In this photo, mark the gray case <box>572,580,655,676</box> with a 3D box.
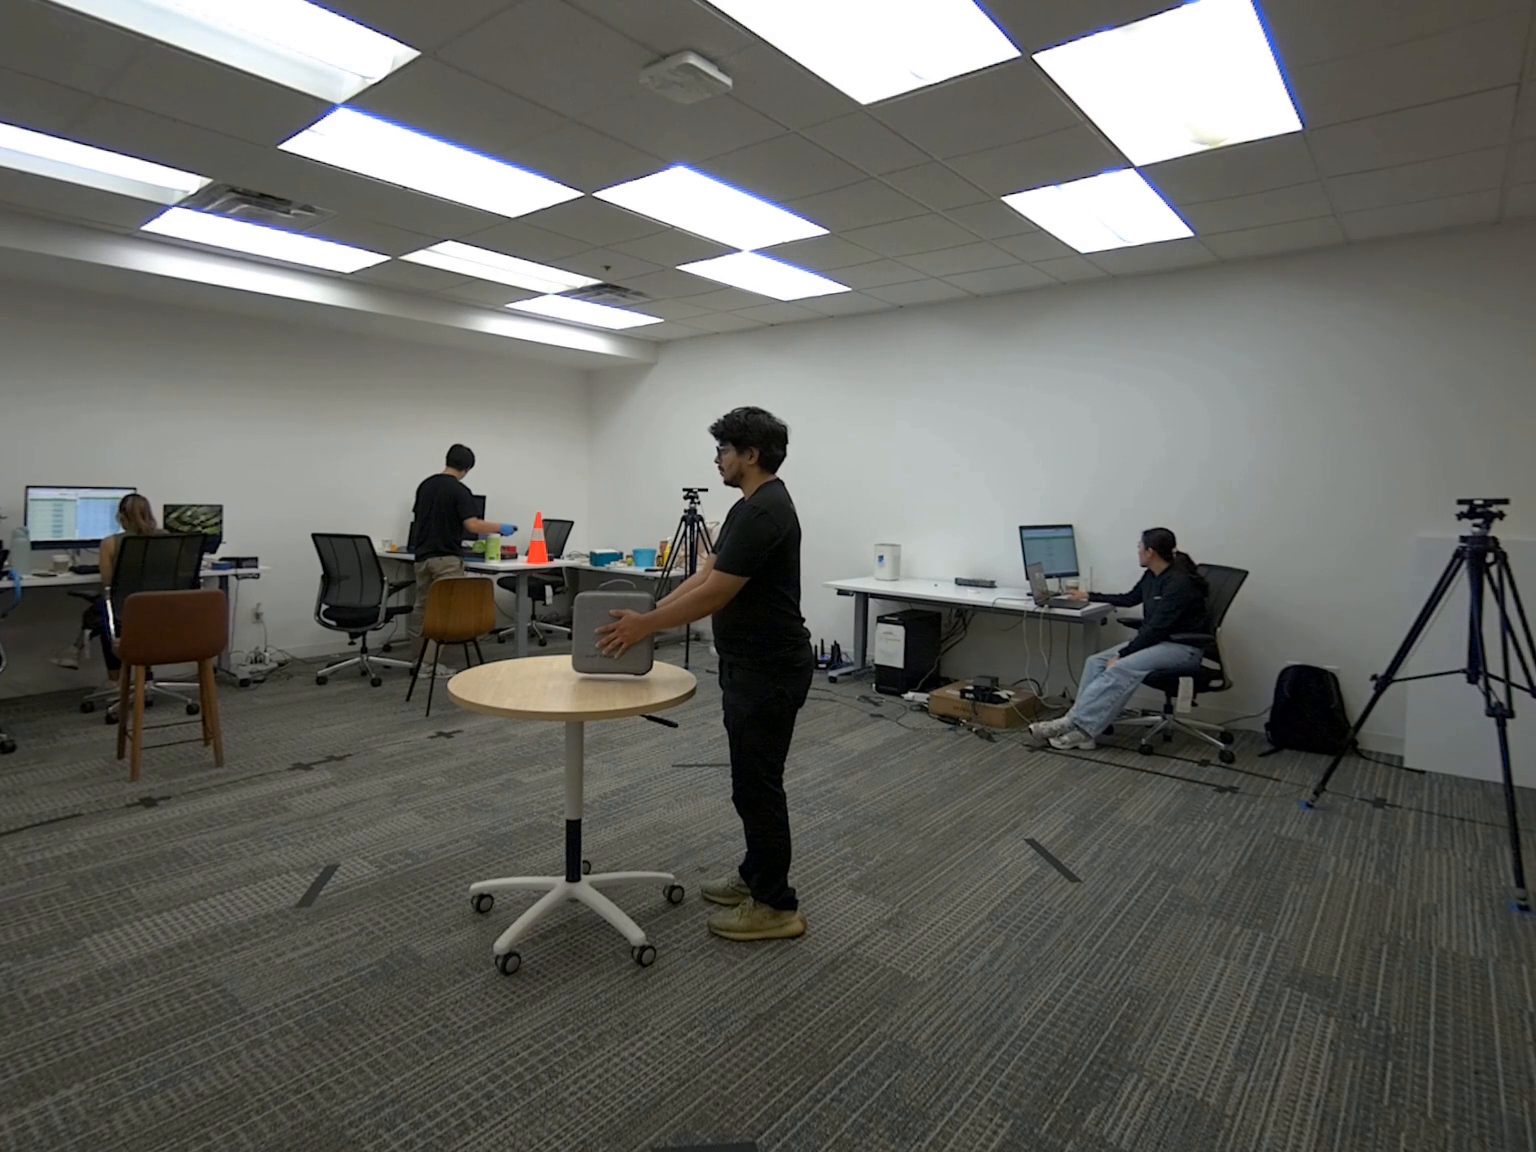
[{"bbox_3d":[-0.501,0.175,2.699,0.257,0.262,0.103,1,-6,2],"label":"gray case"}]
